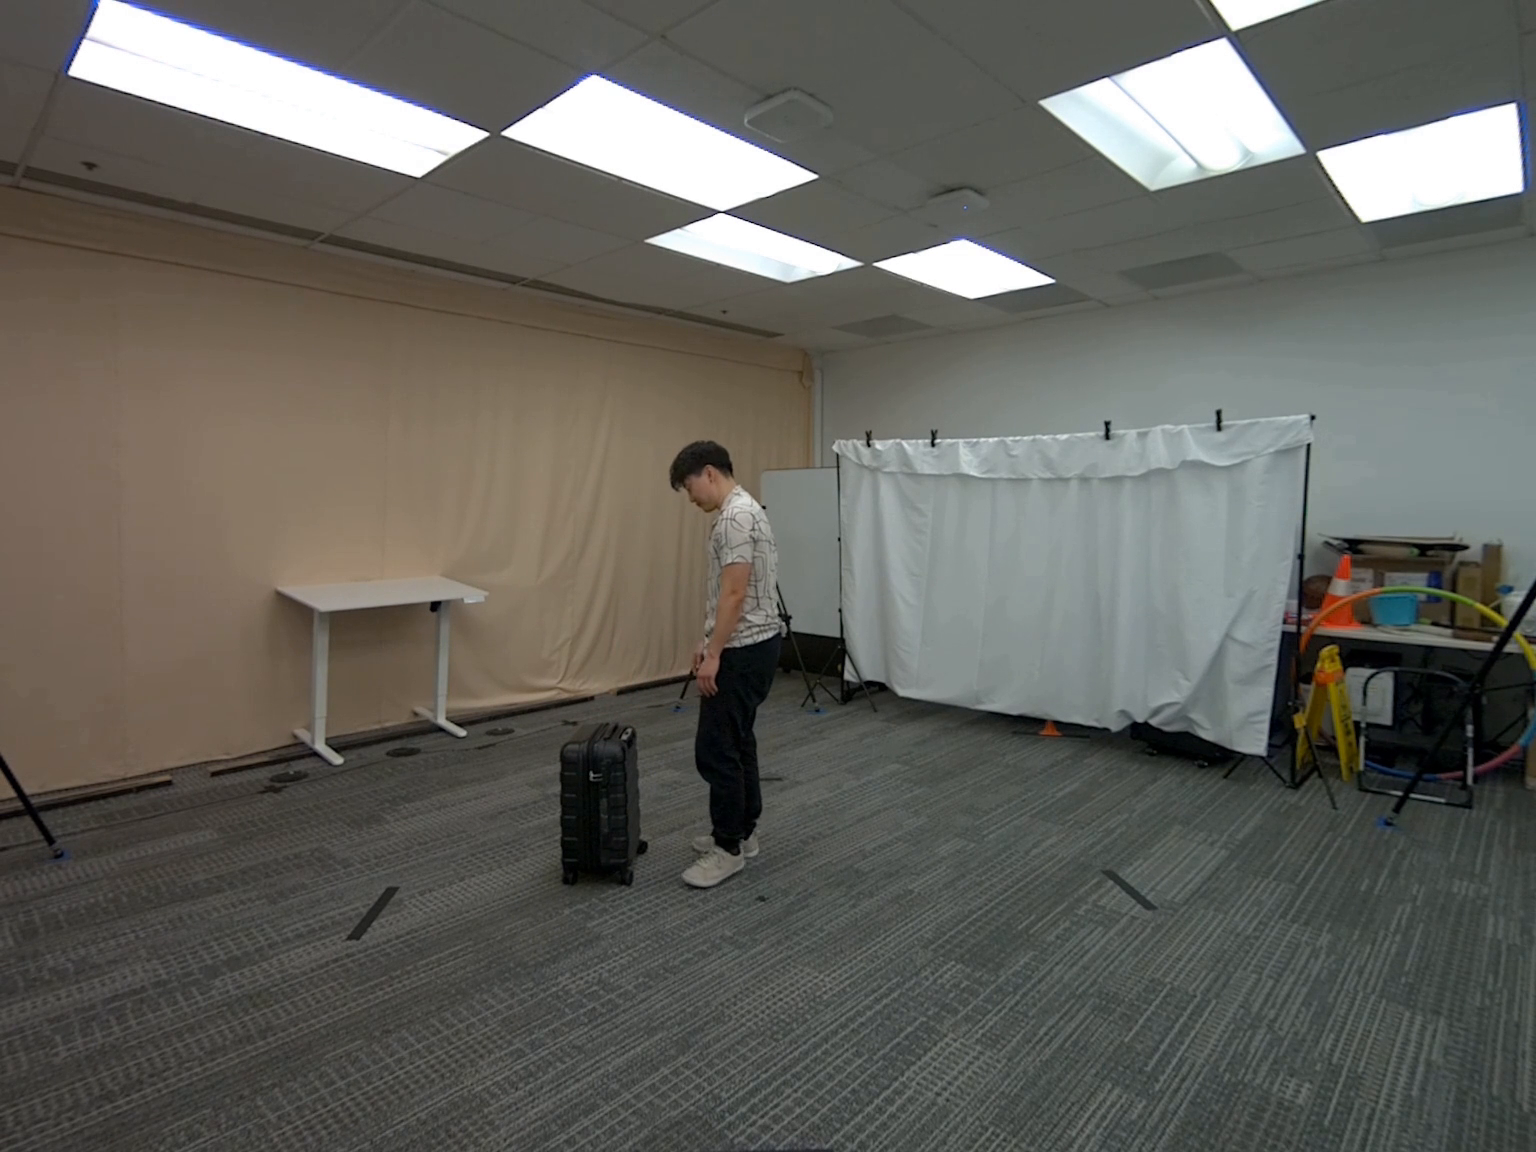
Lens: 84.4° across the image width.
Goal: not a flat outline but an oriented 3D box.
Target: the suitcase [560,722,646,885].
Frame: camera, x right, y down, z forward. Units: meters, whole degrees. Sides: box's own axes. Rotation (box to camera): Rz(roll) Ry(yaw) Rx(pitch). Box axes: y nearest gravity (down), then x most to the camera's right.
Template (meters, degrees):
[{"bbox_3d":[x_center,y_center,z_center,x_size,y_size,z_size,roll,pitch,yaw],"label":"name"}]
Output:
[{"bbox_3d":[-0.636,0.855,3.225,0.249,0.548,0.376,-1,4,0],"label":"suitcase"}]
